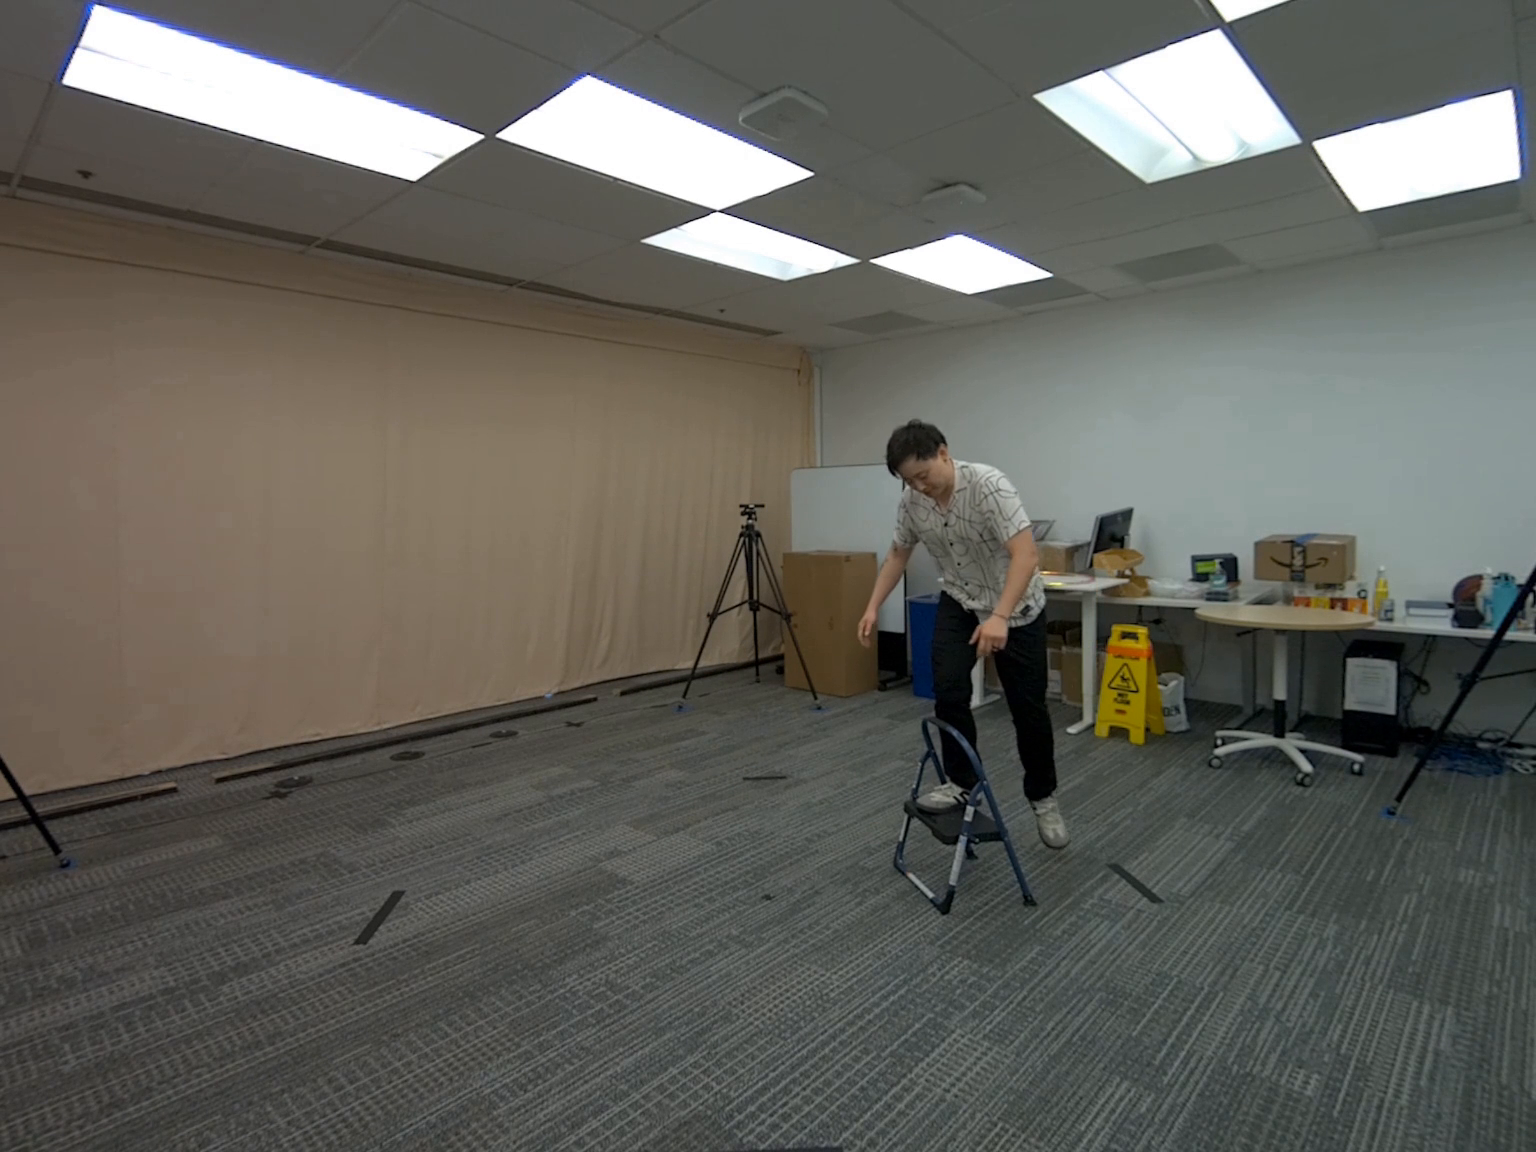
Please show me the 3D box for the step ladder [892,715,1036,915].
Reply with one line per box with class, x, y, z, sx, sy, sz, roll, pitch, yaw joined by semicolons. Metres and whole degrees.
step ladder;0.702;0.823;3.045;0.344;0.605;0.438;-1;4;-15
